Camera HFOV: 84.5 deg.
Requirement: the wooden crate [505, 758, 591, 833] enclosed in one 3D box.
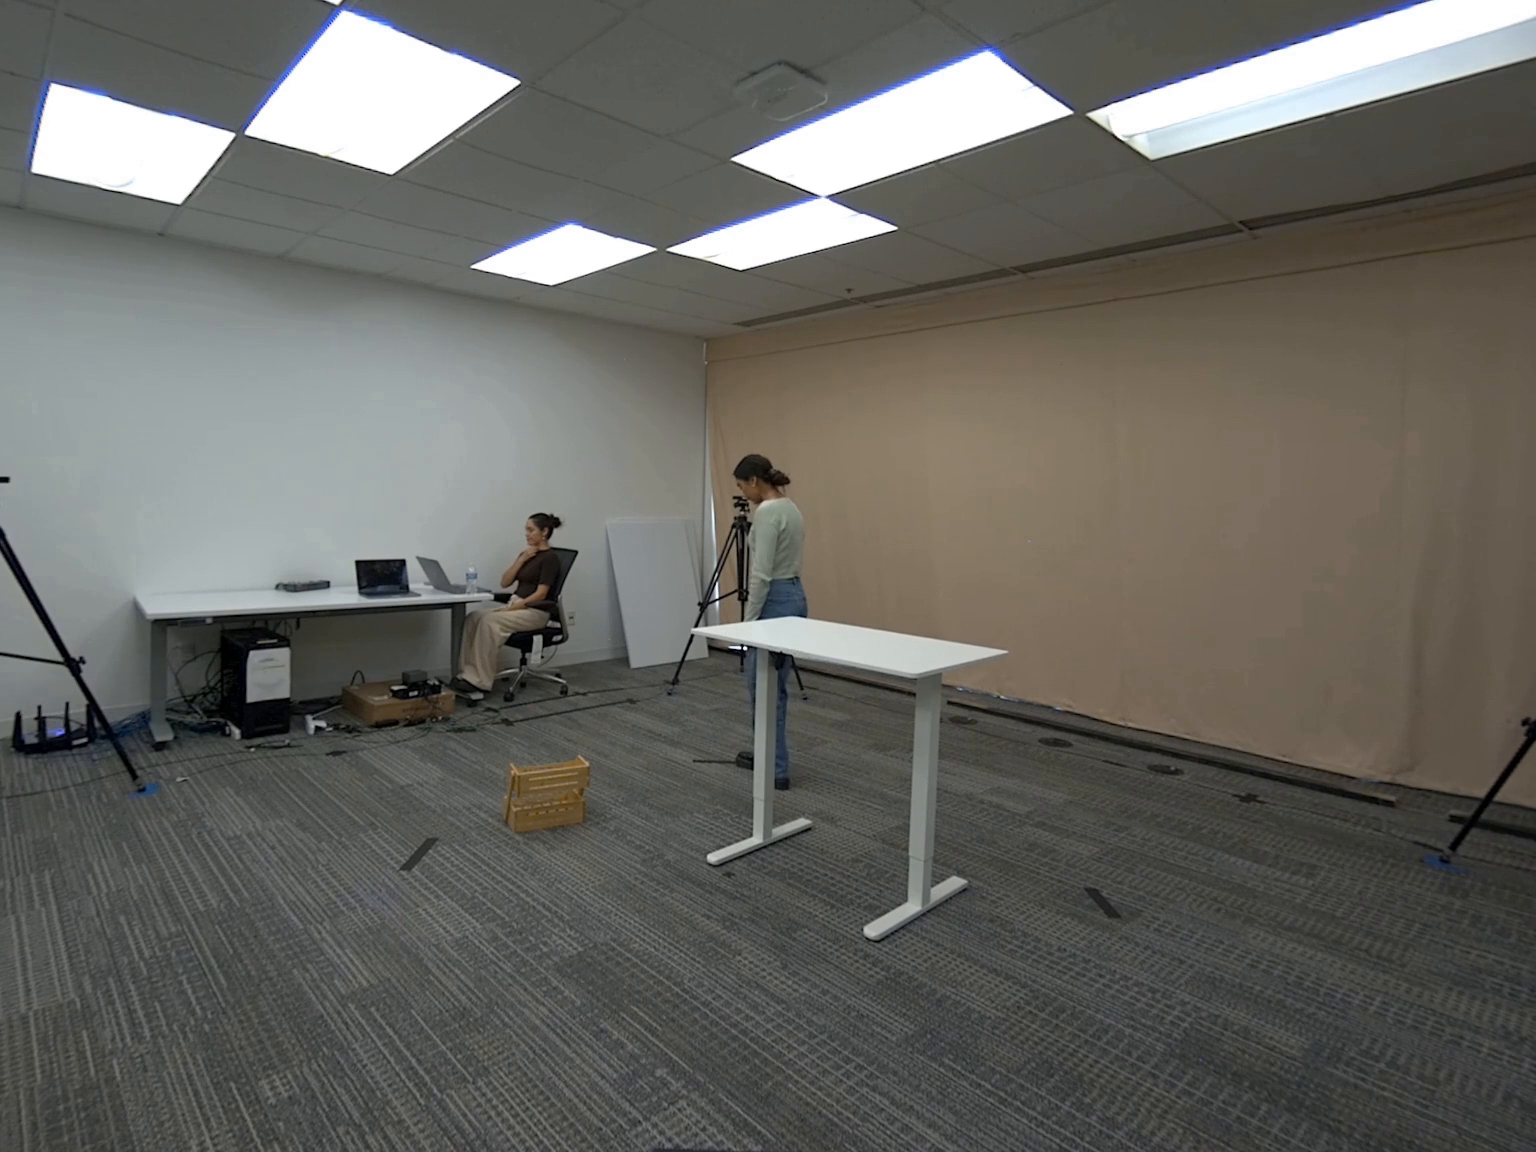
[{"bbox_3d":[-0.963,0.907,3.594,0.318,0.272,0.309,0,5,-30],"label":"wooden crate"}]
